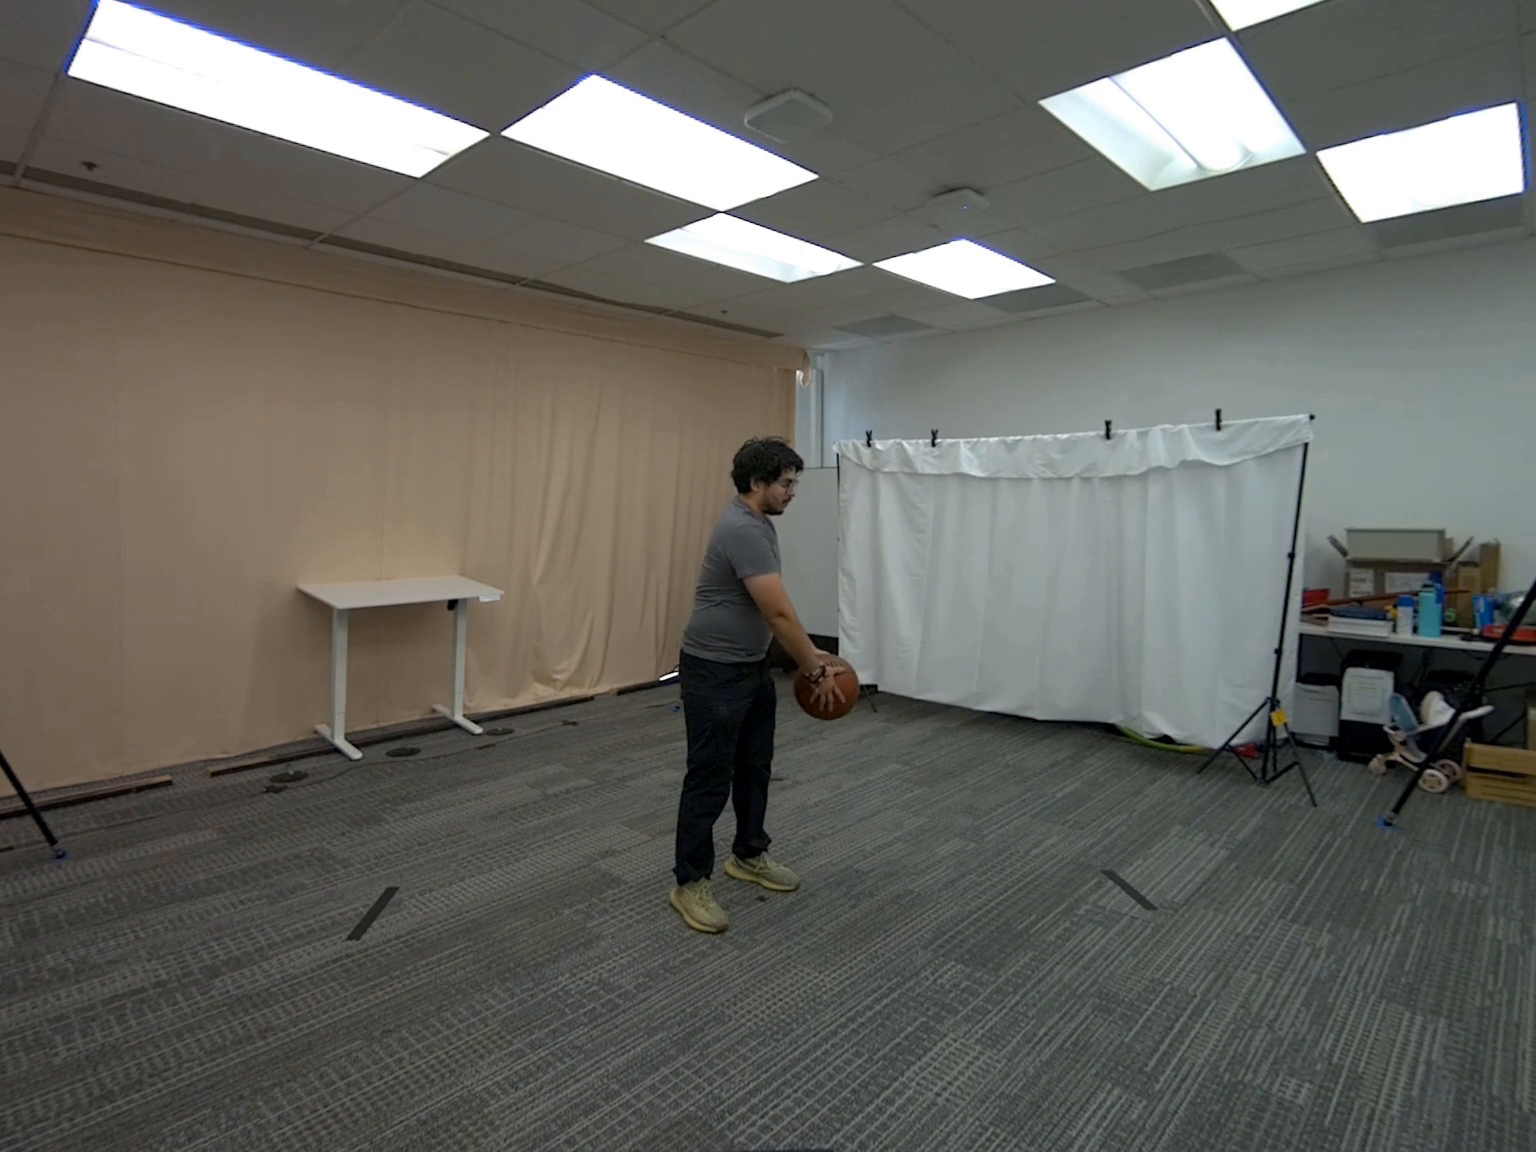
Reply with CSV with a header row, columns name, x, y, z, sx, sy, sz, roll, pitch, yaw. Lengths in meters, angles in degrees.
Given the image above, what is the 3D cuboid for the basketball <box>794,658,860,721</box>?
name,x,y,z,sx,sy,sz,roll,pitch,yaw
basketball,0.220,0.399,3.068,0.236,0.235,0.237,0,4,-2
